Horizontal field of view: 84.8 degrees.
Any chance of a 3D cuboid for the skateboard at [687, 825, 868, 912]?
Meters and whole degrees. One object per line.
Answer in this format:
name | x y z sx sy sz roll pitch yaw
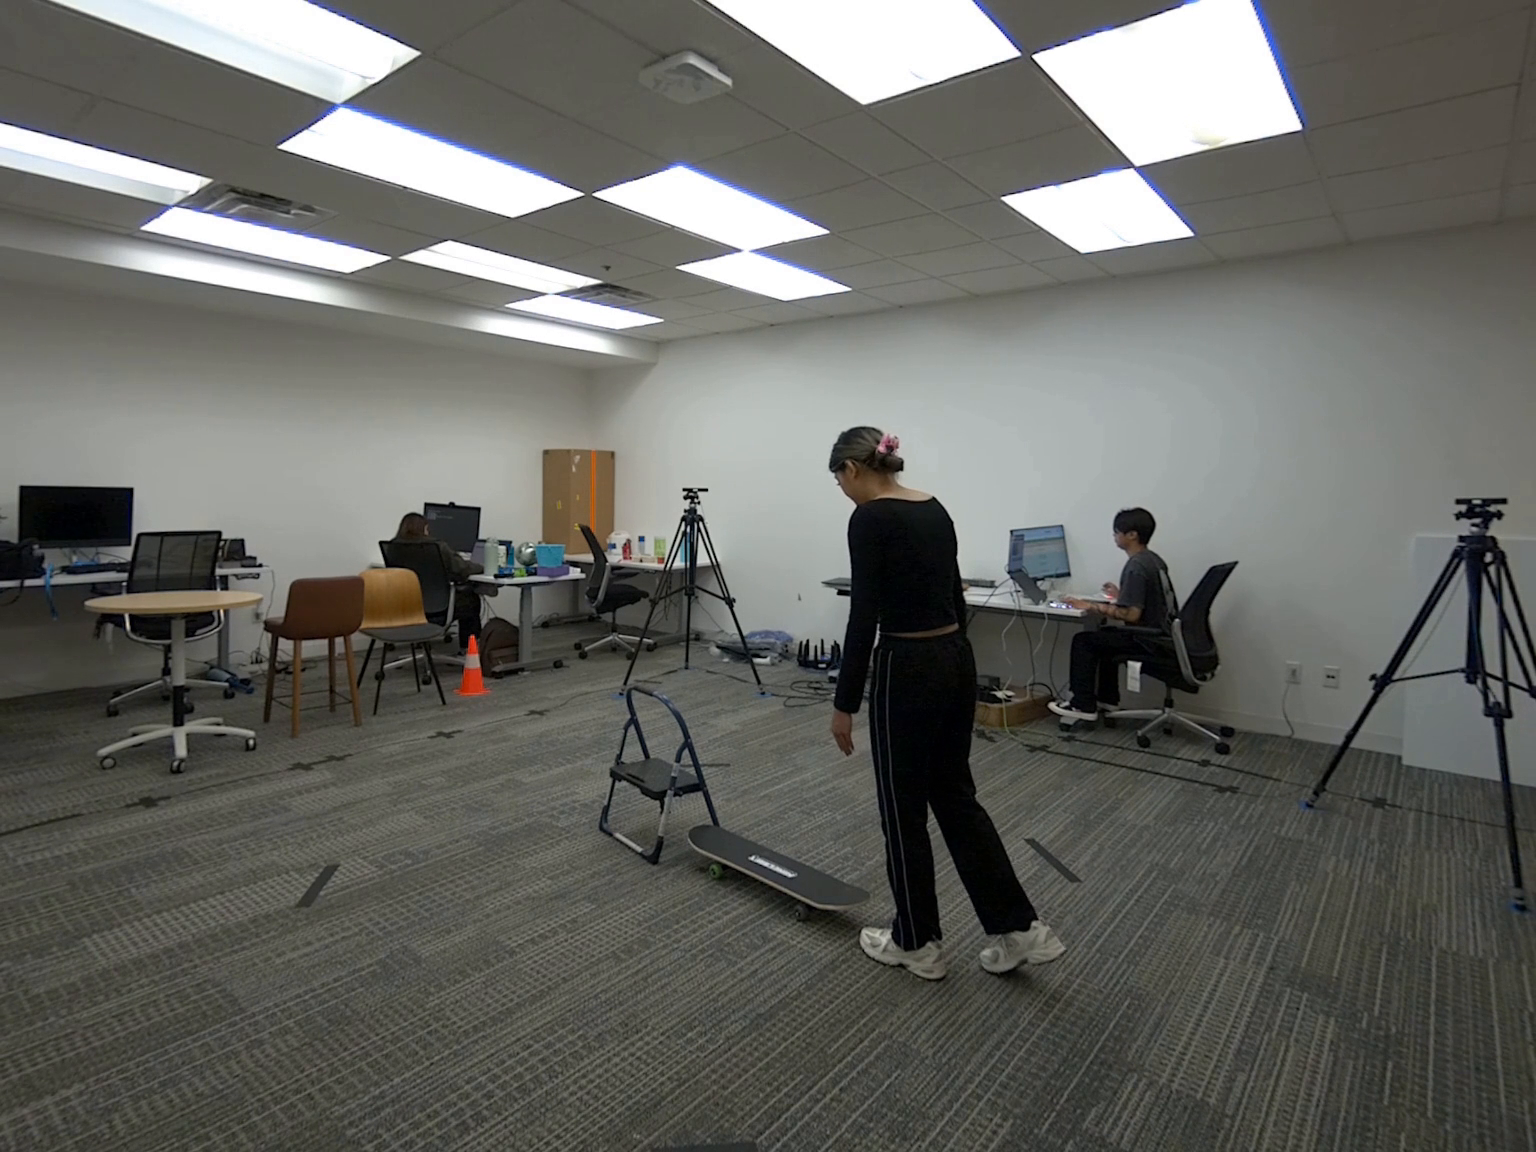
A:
skateboard | 0.011 1.035 2.945 0.813 0.110 0.188 6 8 44
